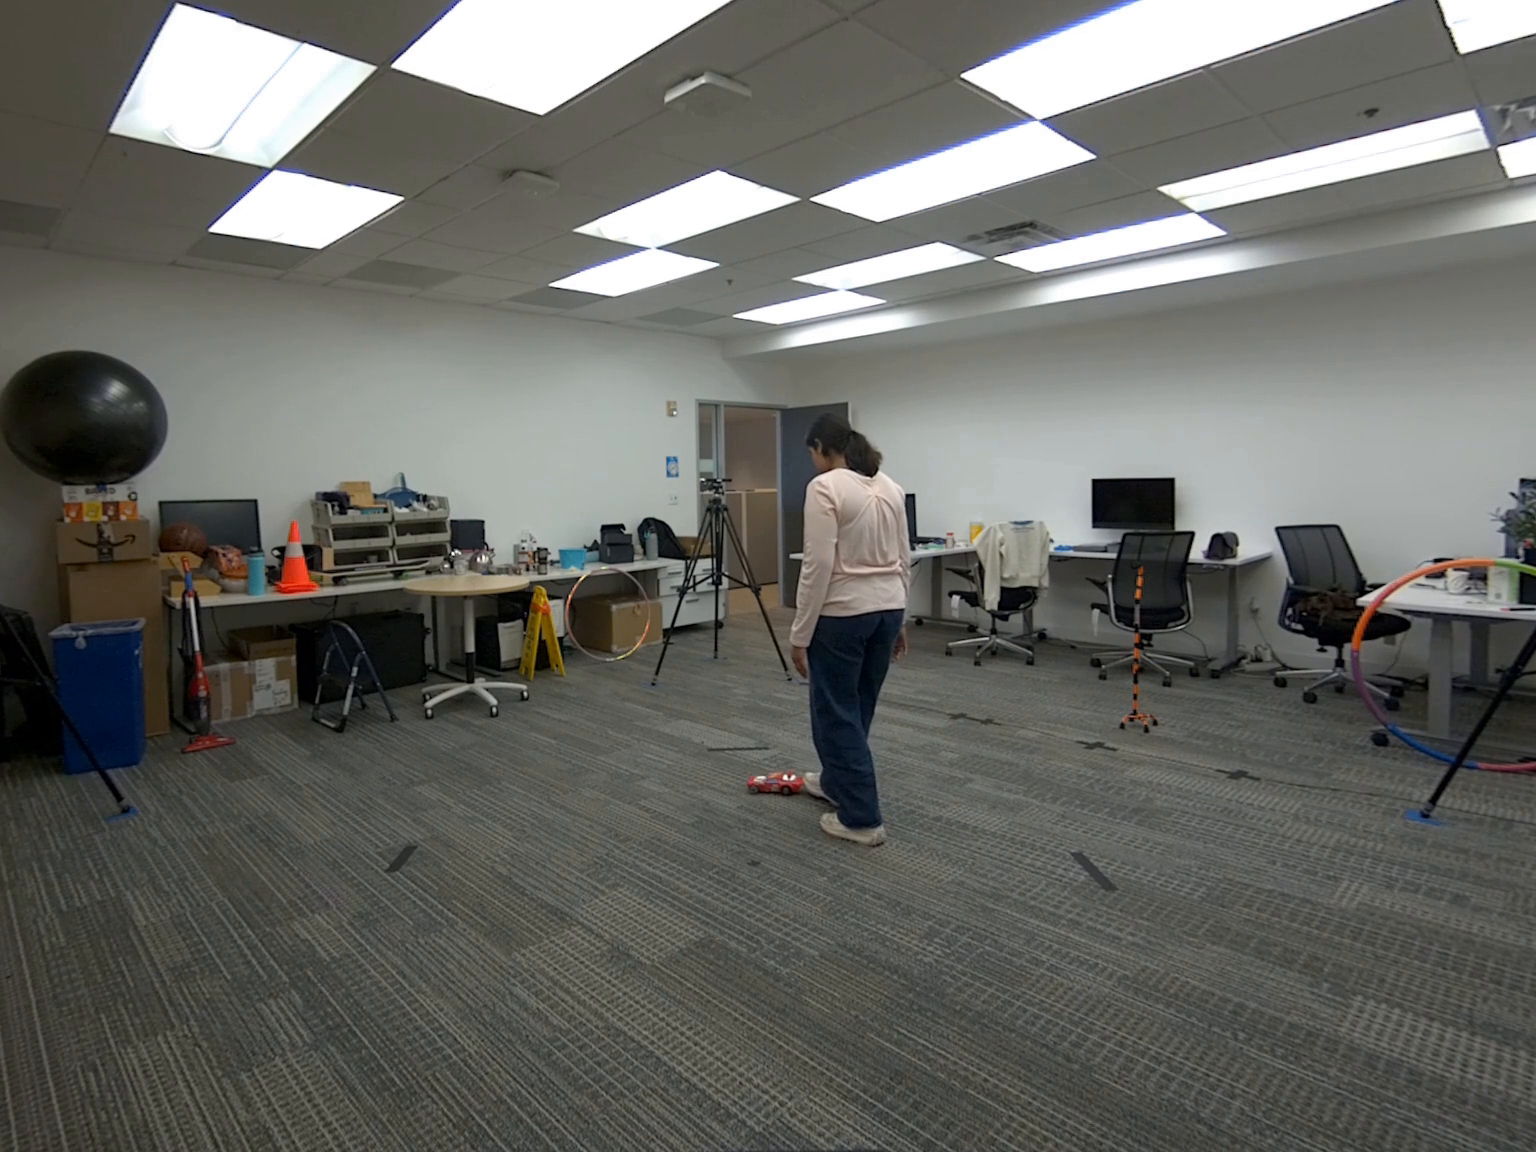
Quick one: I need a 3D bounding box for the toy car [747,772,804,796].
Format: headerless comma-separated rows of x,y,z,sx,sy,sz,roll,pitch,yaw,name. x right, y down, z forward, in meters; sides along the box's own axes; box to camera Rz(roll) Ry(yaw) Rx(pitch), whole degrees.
0.038,0.932,3.827,0.257,0.083,0.129,-11,5,11,toy car
